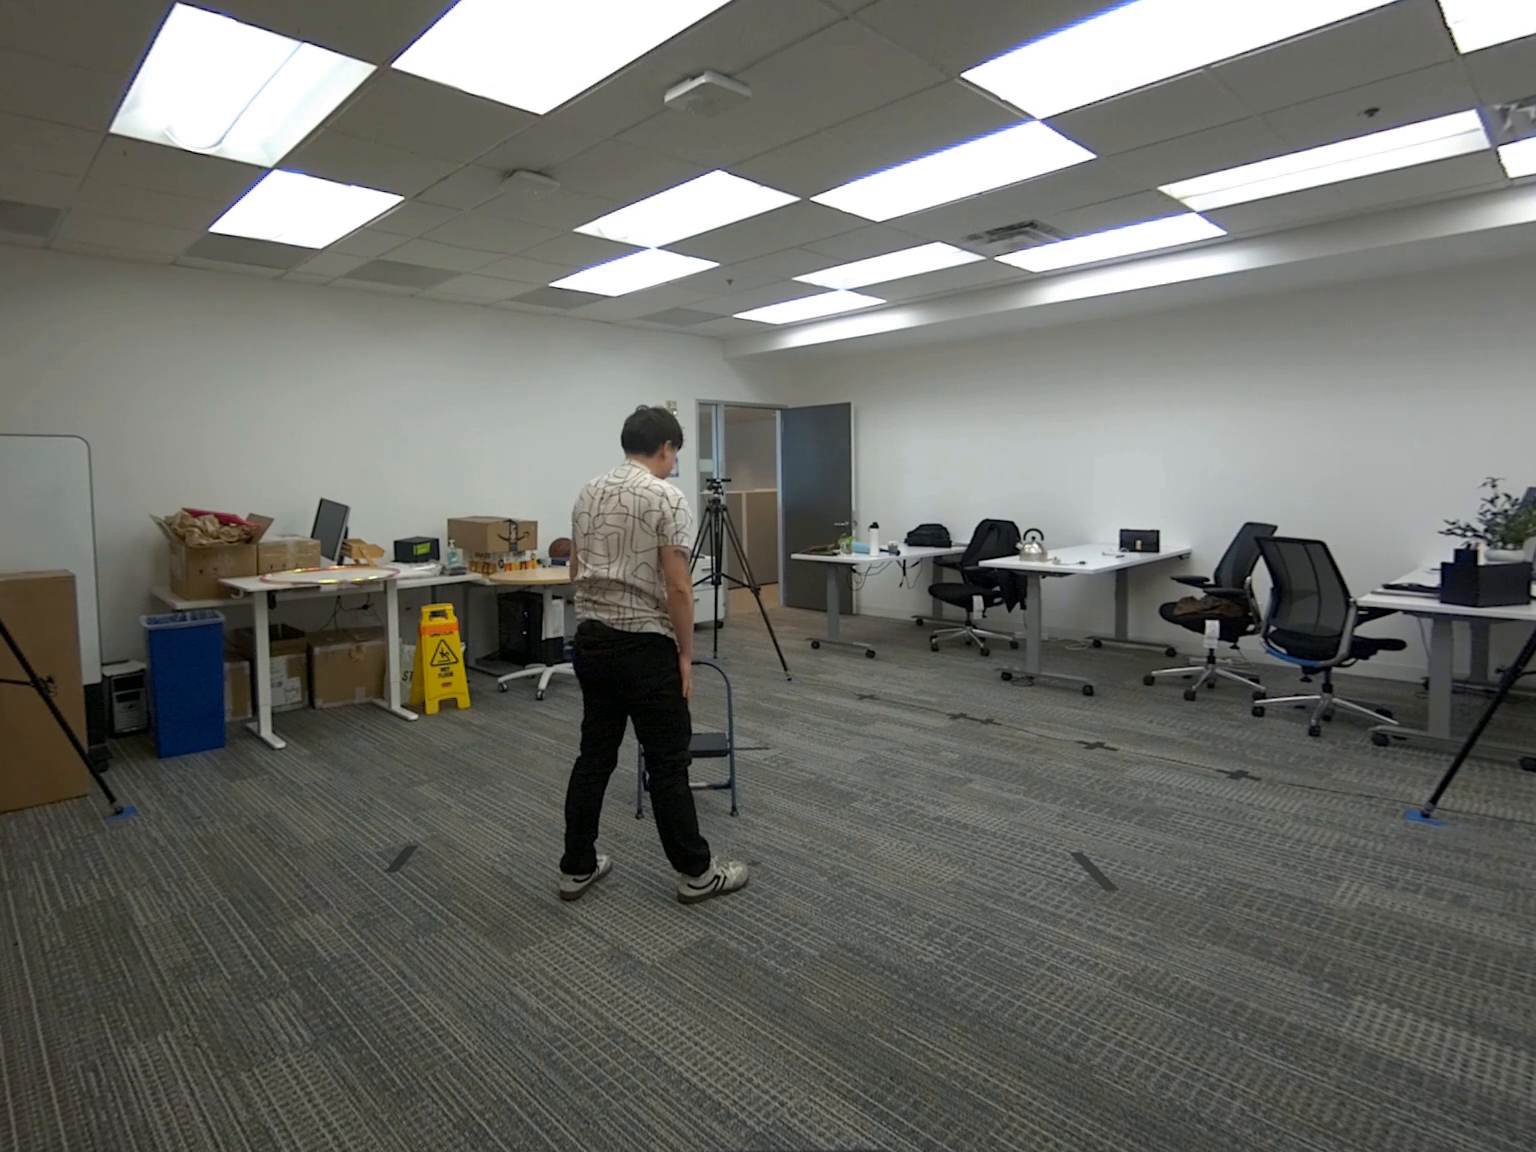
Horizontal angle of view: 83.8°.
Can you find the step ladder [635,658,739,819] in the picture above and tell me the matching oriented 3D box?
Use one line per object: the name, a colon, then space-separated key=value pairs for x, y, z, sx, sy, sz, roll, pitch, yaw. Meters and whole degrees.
step ladder: x=-0.352 y=0.681 z=3.704 sx=0.430 sy=0.604 sz=0.351 roll=-1 pitch=4 yaw=-3
